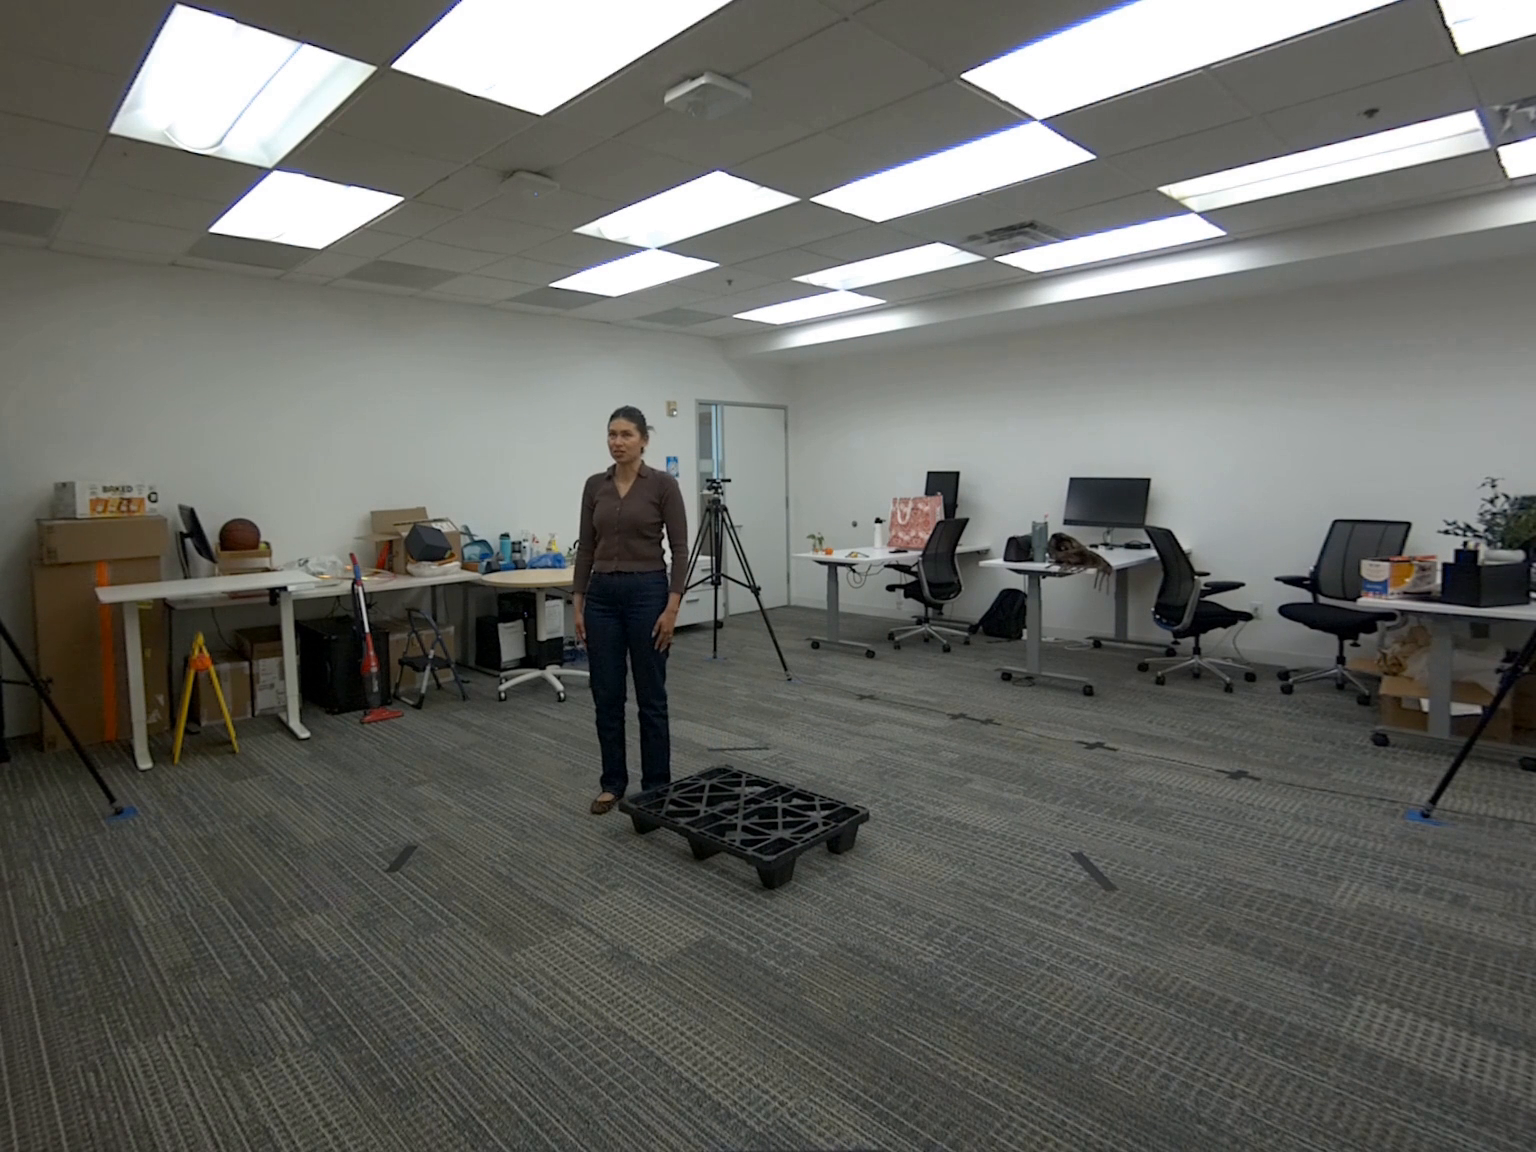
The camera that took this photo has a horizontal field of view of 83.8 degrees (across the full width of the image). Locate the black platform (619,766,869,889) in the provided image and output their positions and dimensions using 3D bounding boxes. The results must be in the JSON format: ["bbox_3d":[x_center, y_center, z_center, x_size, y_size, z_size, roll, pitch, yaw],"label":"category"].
[{"bbox_3d":[-0.100,0.954,3.318,0.830,0.143,0.589,5,8,42],"label":"black platform"}]
